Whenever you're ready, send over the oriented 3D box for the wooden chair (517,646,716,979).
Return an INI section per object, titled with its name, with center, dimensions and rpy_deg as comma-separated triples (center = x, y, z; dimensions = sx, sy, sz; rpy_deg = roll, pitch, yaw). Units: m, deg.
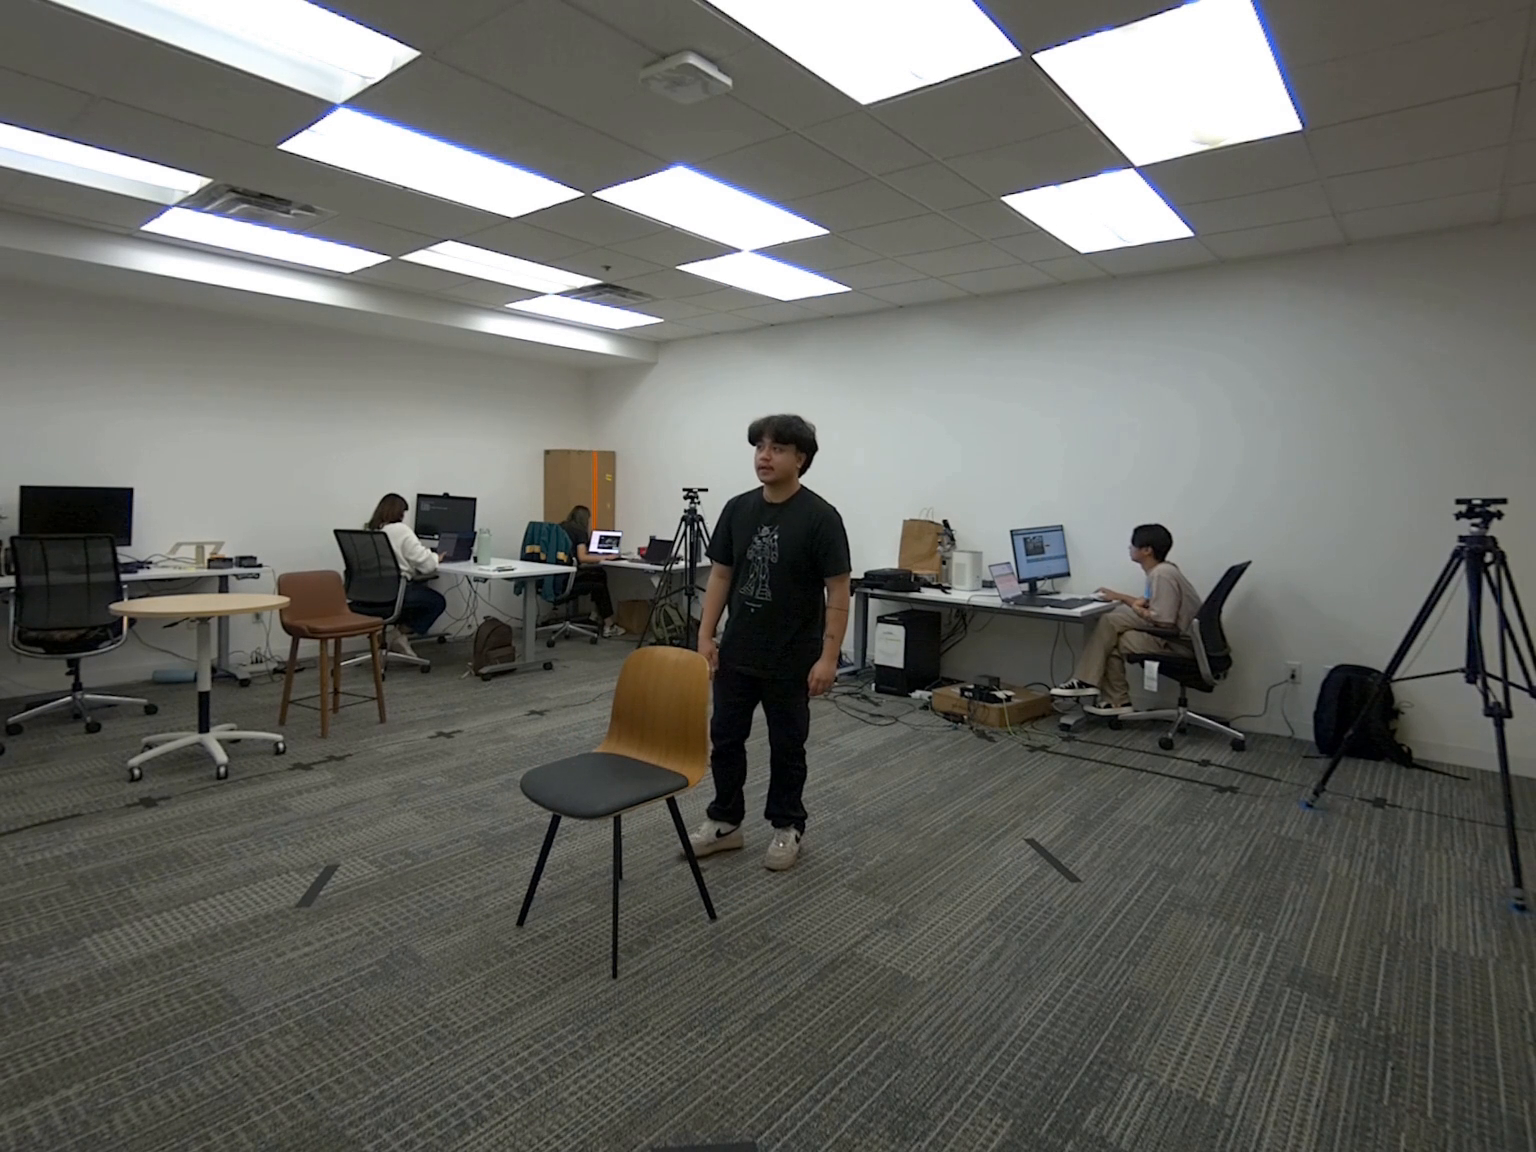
[wooden chair]
center = -0.487, 0.680, 2.678
dimensions = 0.494, 0.878, 0.506
rpy_deg = 3, 0, 38
